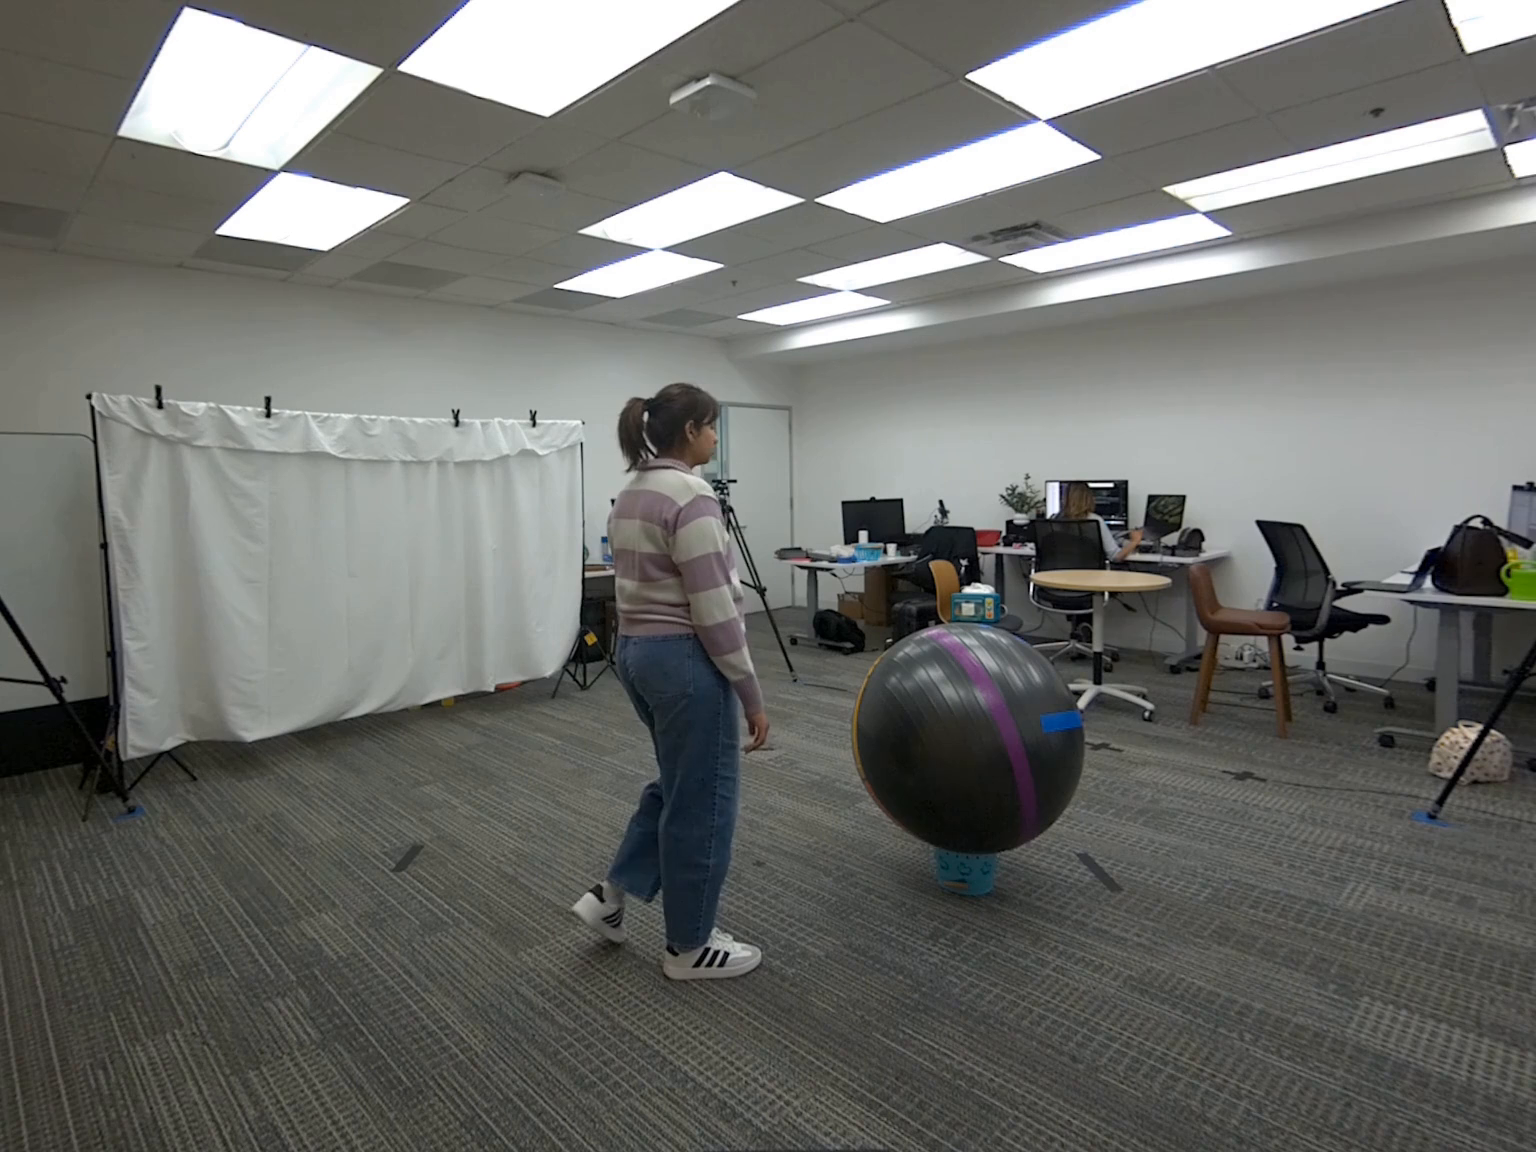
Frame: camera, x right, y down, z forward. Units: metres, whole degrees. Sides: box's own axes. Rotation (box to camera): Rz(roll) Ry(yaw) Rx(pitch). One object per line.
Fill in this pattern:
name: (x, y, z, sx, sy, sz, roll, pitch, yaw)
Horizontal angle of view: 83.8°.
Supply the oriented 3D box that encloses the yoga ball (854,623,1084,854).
yoga ball: (0.670, 0.546, 2.914, 0.757, 0.755, 0.762, -1, 5, -2)
